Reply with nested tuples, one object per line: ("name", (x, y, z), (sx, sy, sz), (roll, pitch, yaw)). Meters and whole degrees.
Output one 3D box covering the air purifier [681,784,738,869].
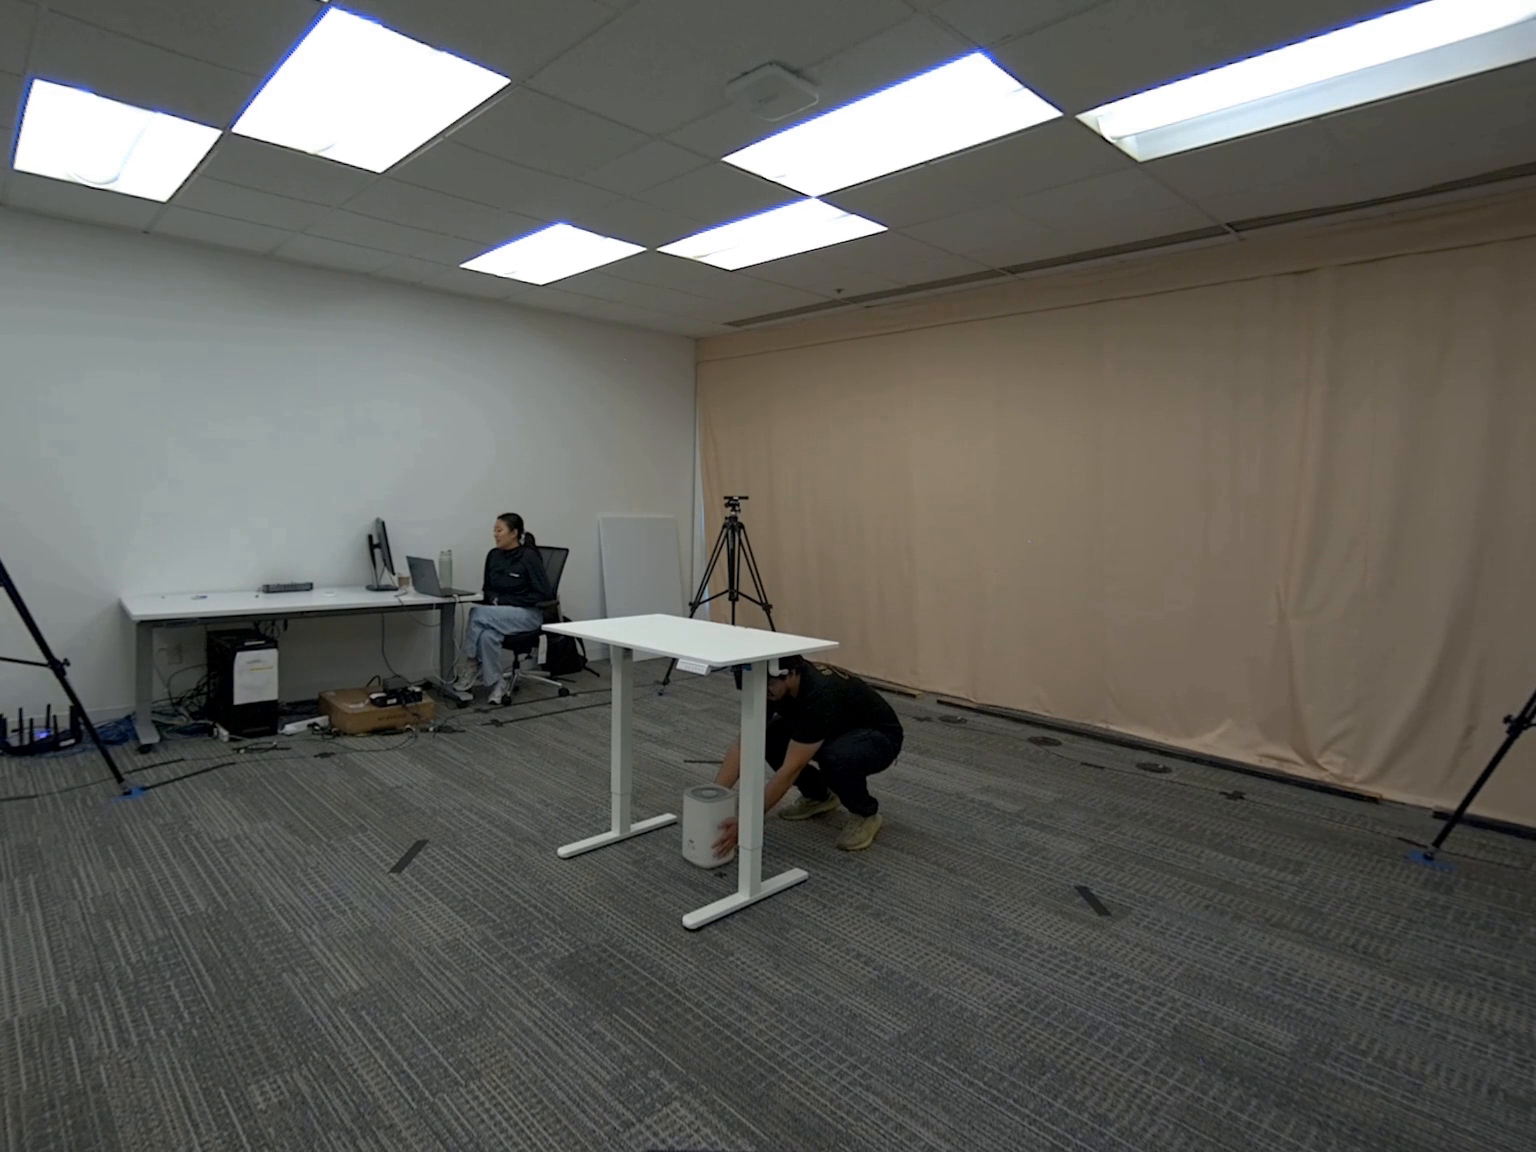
("air purifier", (-0.232, 0.957, 3.219), (0.168, 0.265, 0.175), (-2, 5, -45))
